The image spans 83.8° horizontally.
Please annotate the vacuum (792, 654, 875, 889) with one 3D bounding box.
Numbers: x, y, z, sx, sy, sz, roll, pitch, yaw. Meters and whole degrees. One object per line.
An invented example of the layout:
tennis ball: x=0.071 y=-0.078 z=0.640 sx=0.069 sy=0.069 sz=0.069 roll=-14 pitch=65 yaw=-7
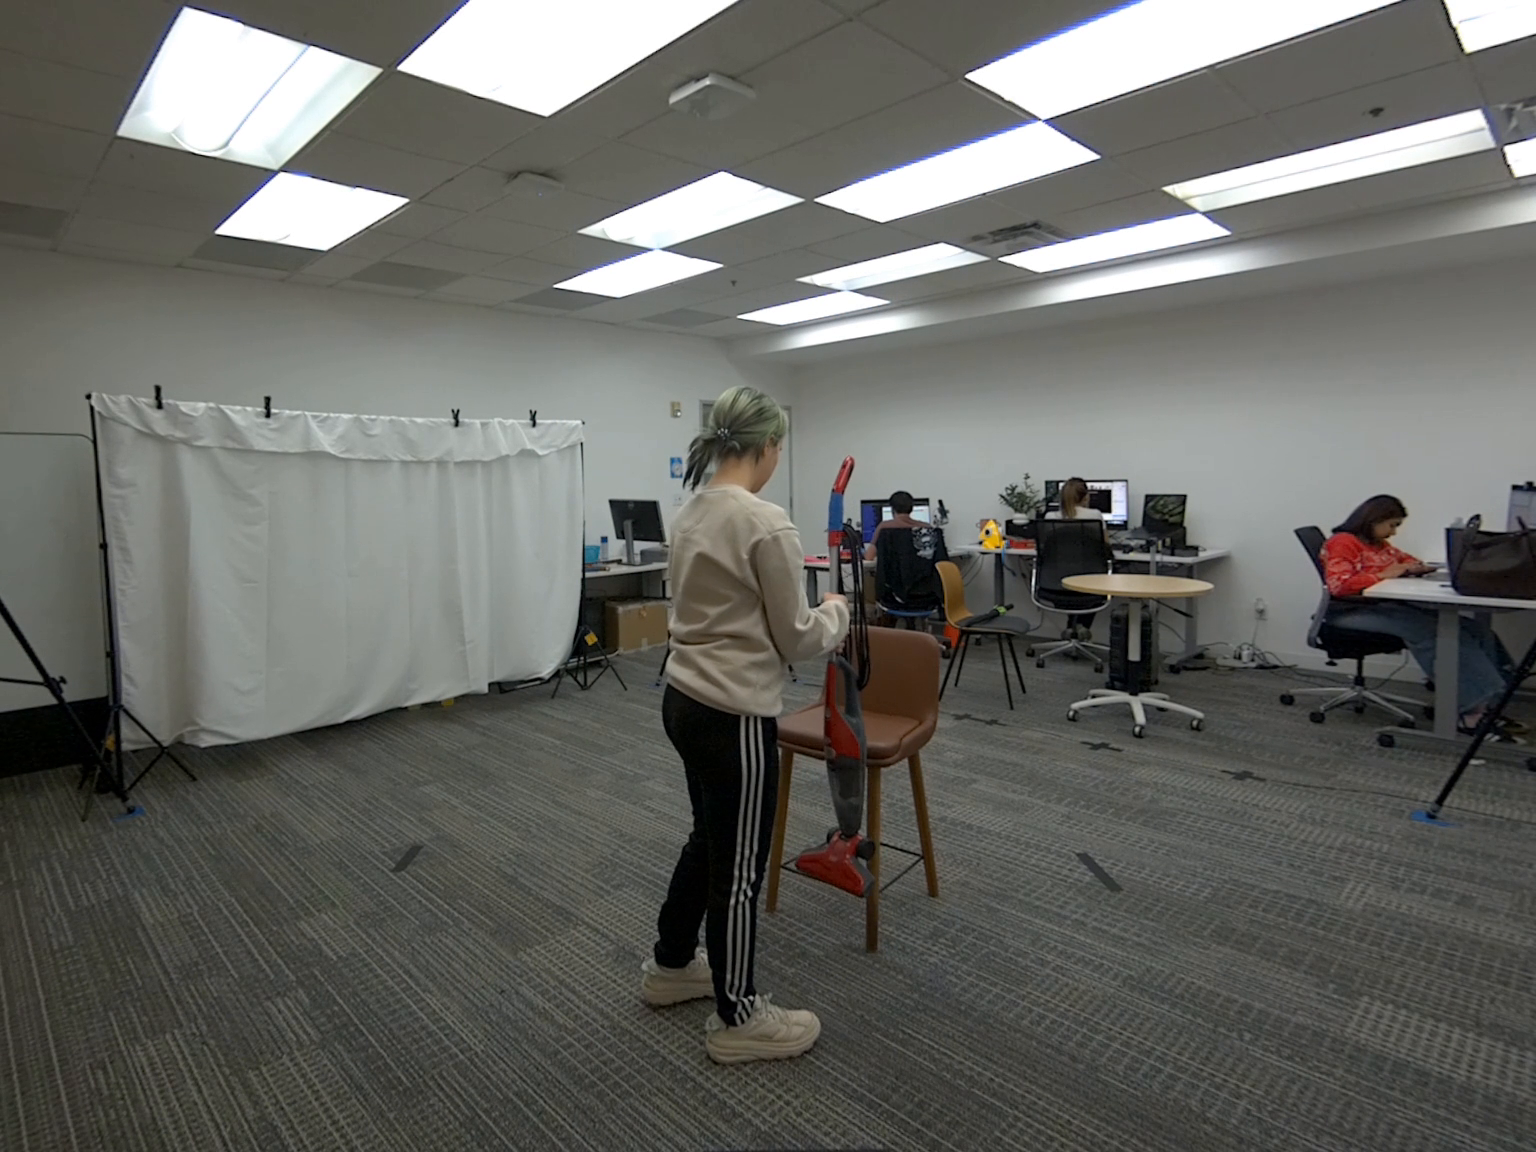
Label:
vacuum: x=0.207 y=0.213 z=2.251 sx=0.139 sy=1.053 sz=0.259 roll=6 pitch=-5 yaw=-41
